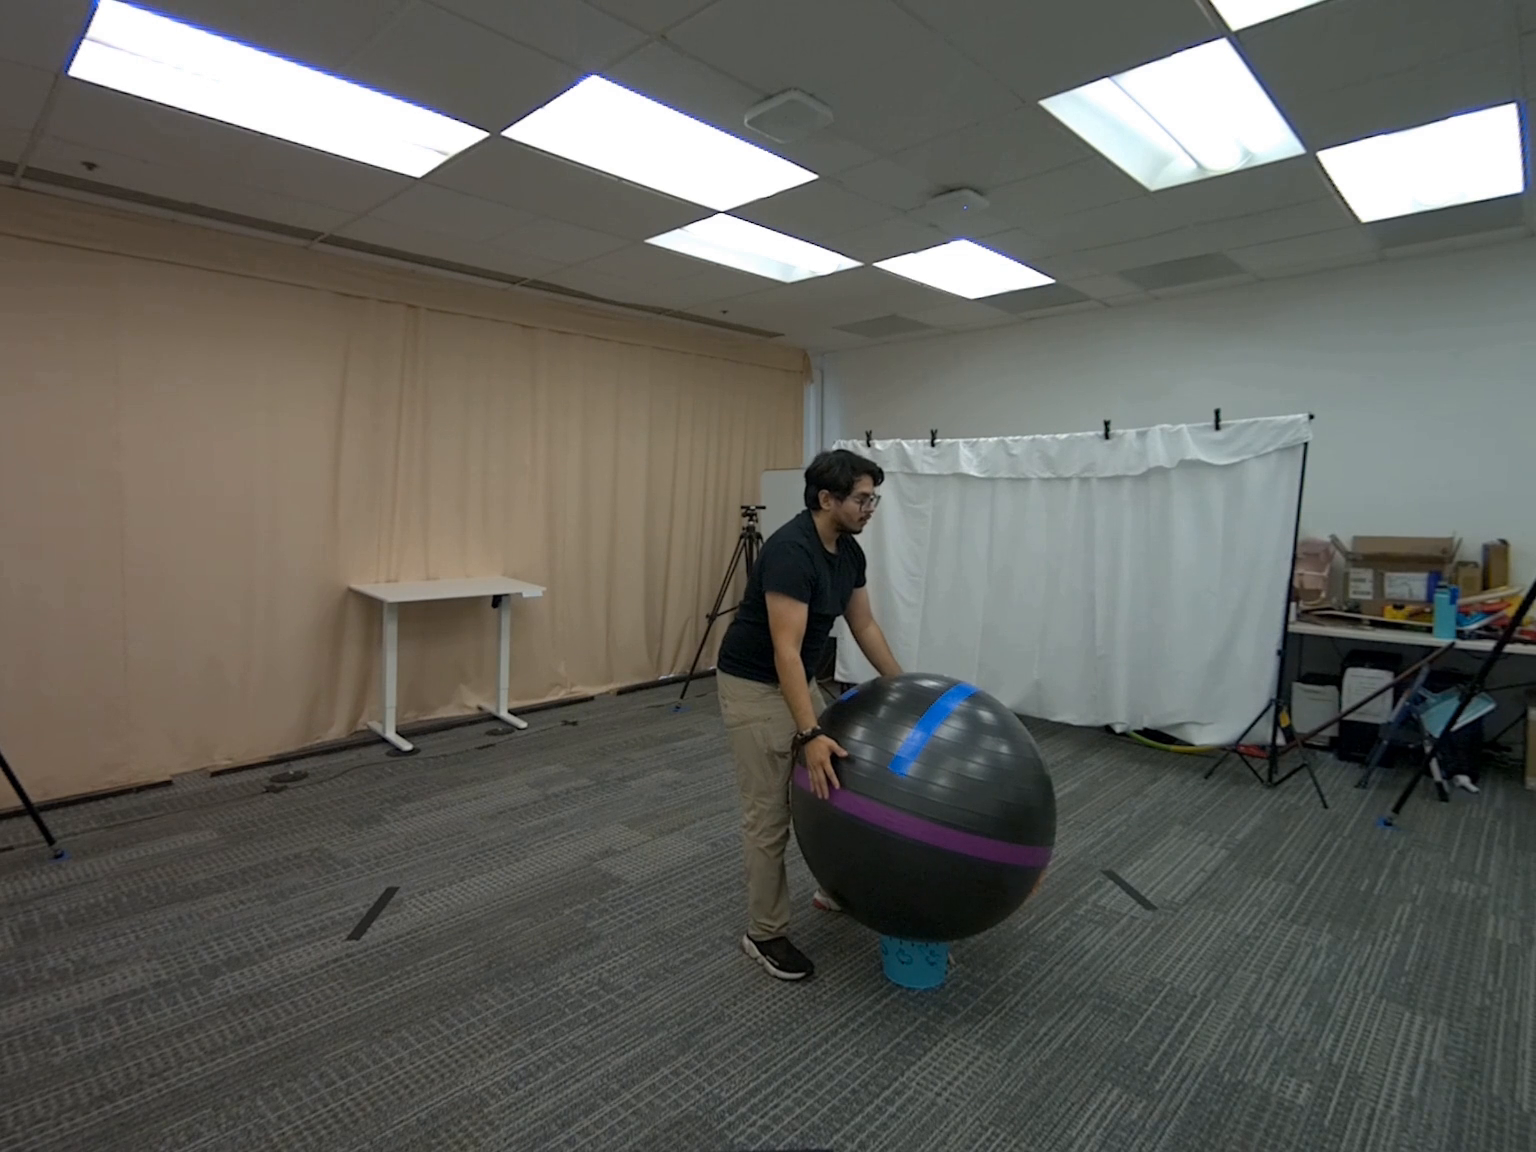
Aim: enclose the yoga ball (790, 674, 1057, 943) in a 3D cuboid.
[{"bbox_3d":[0.468,0.682,2.486,0.757,0.756,0.761,0,4,-2],"label":"yoga ball"}]
